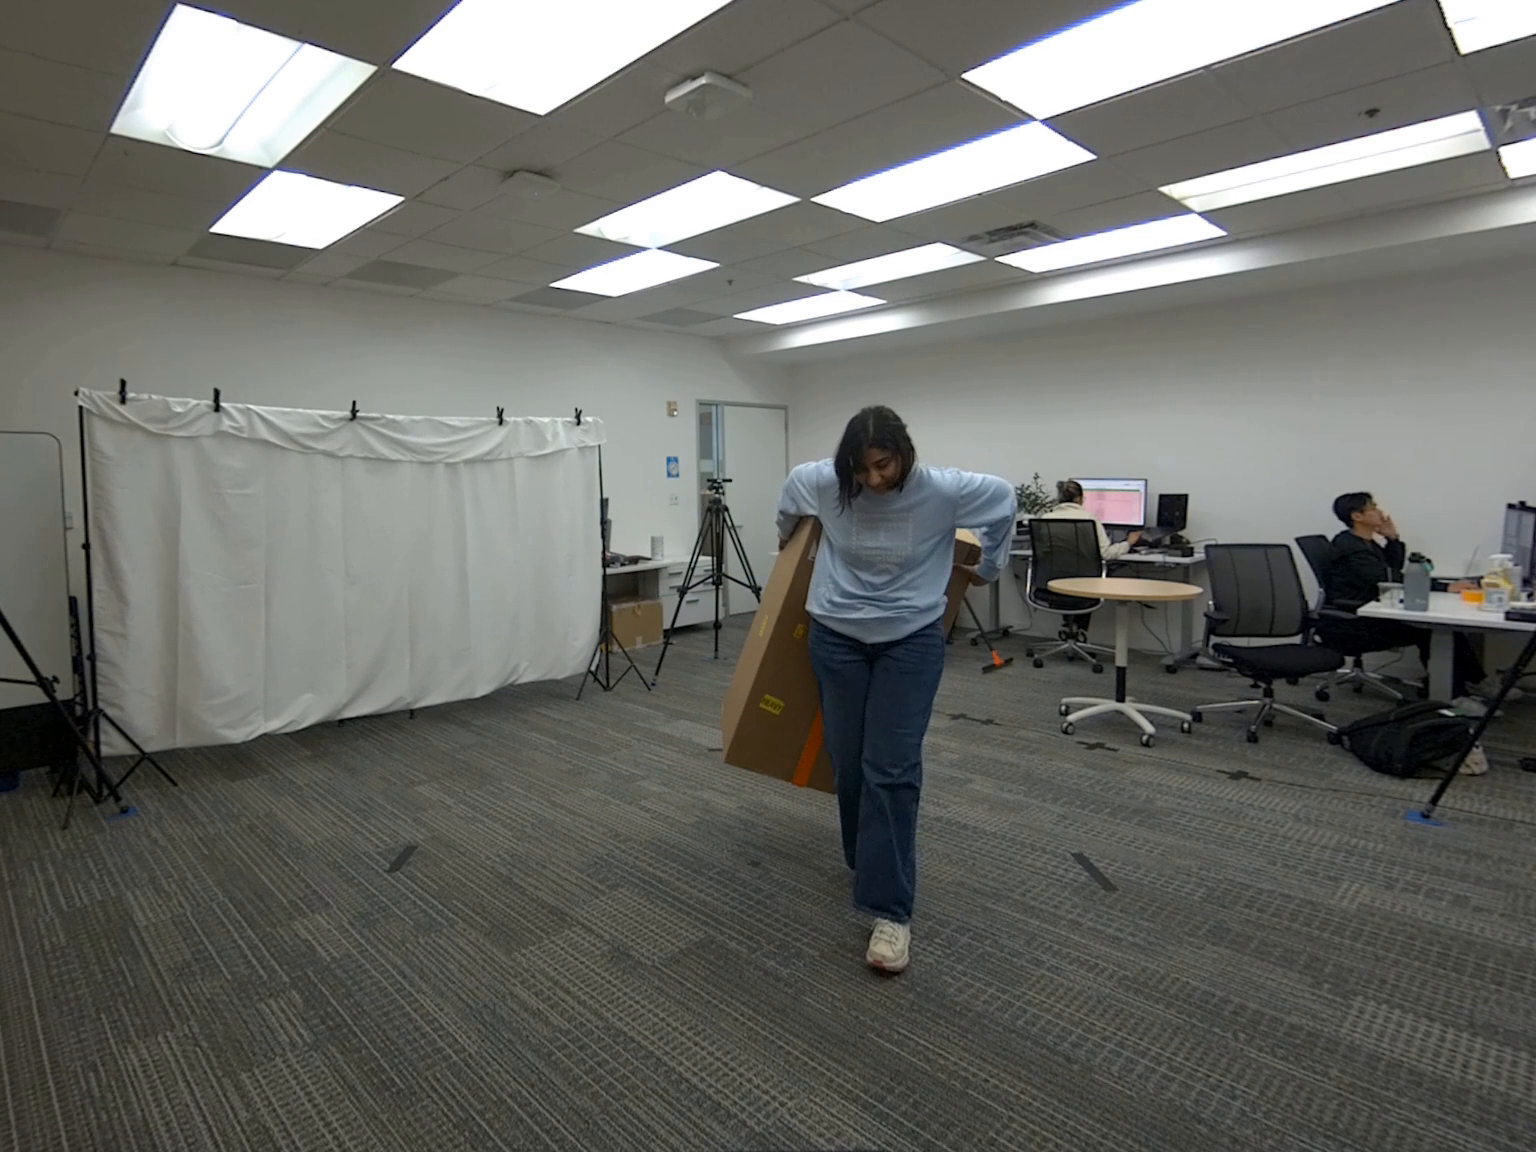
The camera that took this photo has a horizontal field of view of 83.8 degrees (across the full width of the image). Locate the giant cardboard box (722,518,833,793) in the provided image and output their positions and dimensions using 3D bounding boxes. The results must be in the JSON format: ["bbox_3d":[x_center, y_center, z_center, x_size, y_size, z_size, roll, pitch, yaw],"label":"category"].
[{"bbox_3d":[0.265,0.221,3.111,0.573,1.017,0.433,17,15,-7],"label":"giant cardboard box"}]
